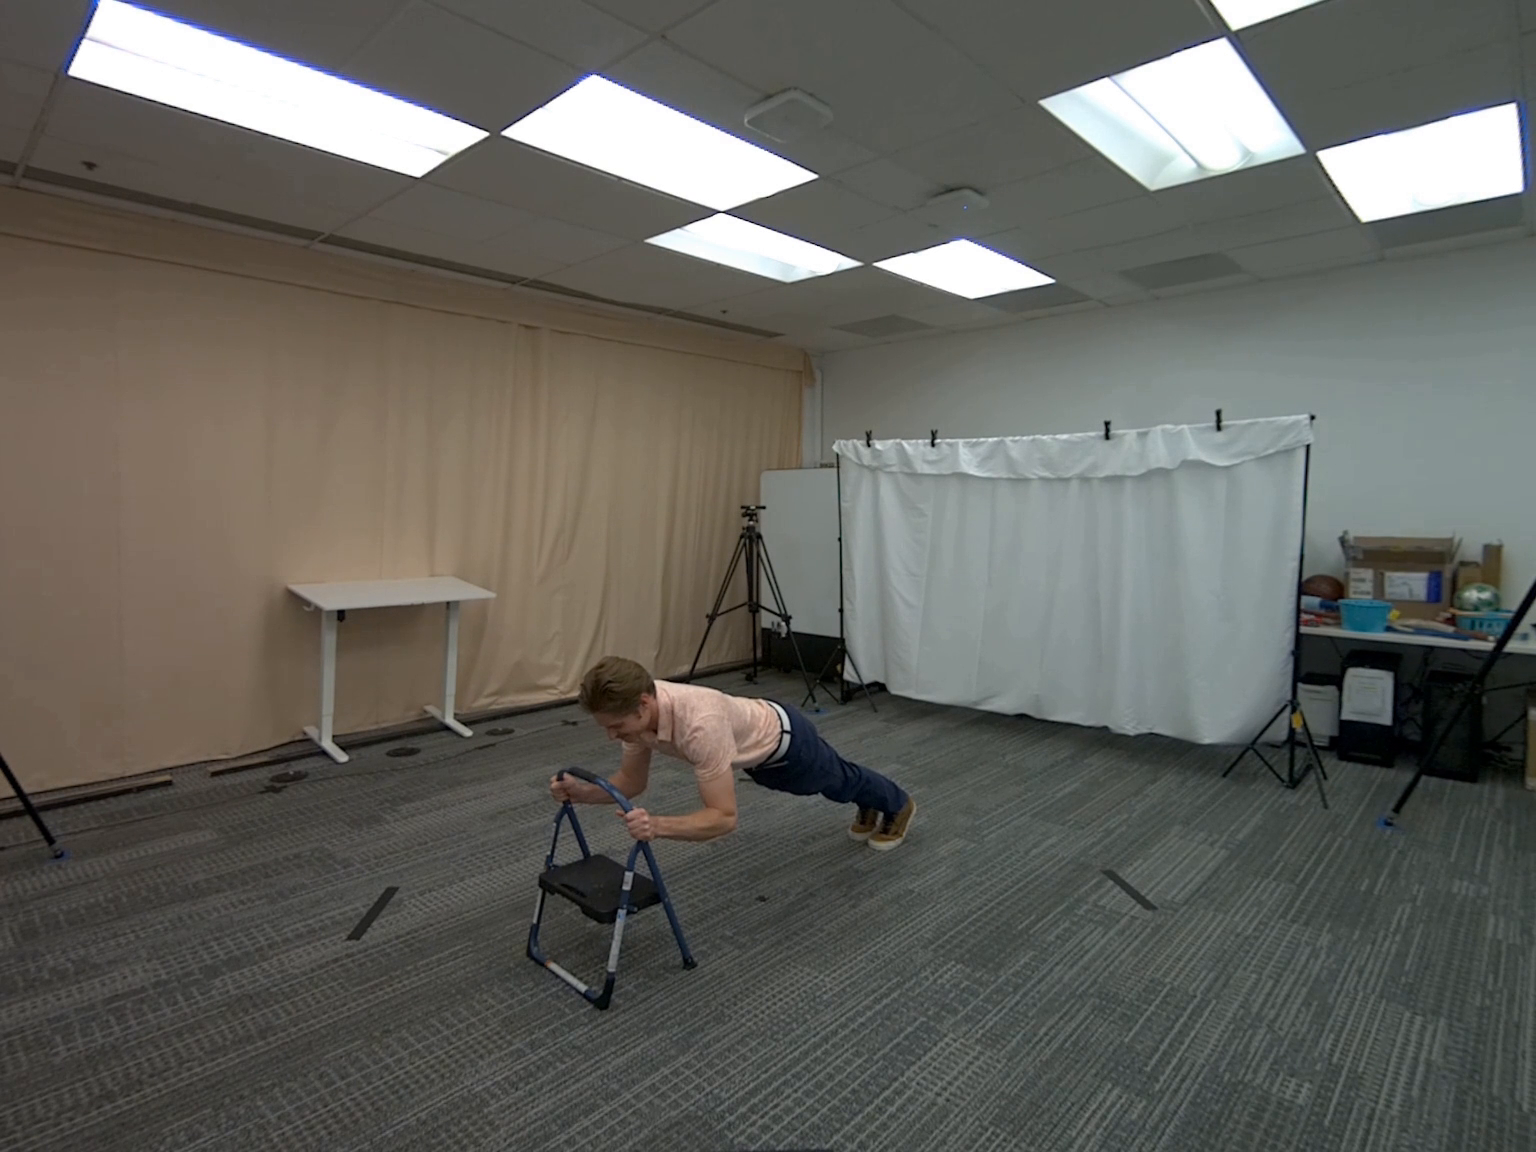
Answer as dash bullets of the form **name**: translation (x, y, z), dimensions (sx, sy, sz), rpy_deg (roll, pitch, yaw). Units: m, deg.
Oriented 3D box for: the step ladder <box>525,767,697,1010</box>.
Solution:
- **step ladder**: translation (-0.489, 0.883, 2.565), dimensions (0.445, 0.605, 0.338), rpy_deg (3, 5, 44)
